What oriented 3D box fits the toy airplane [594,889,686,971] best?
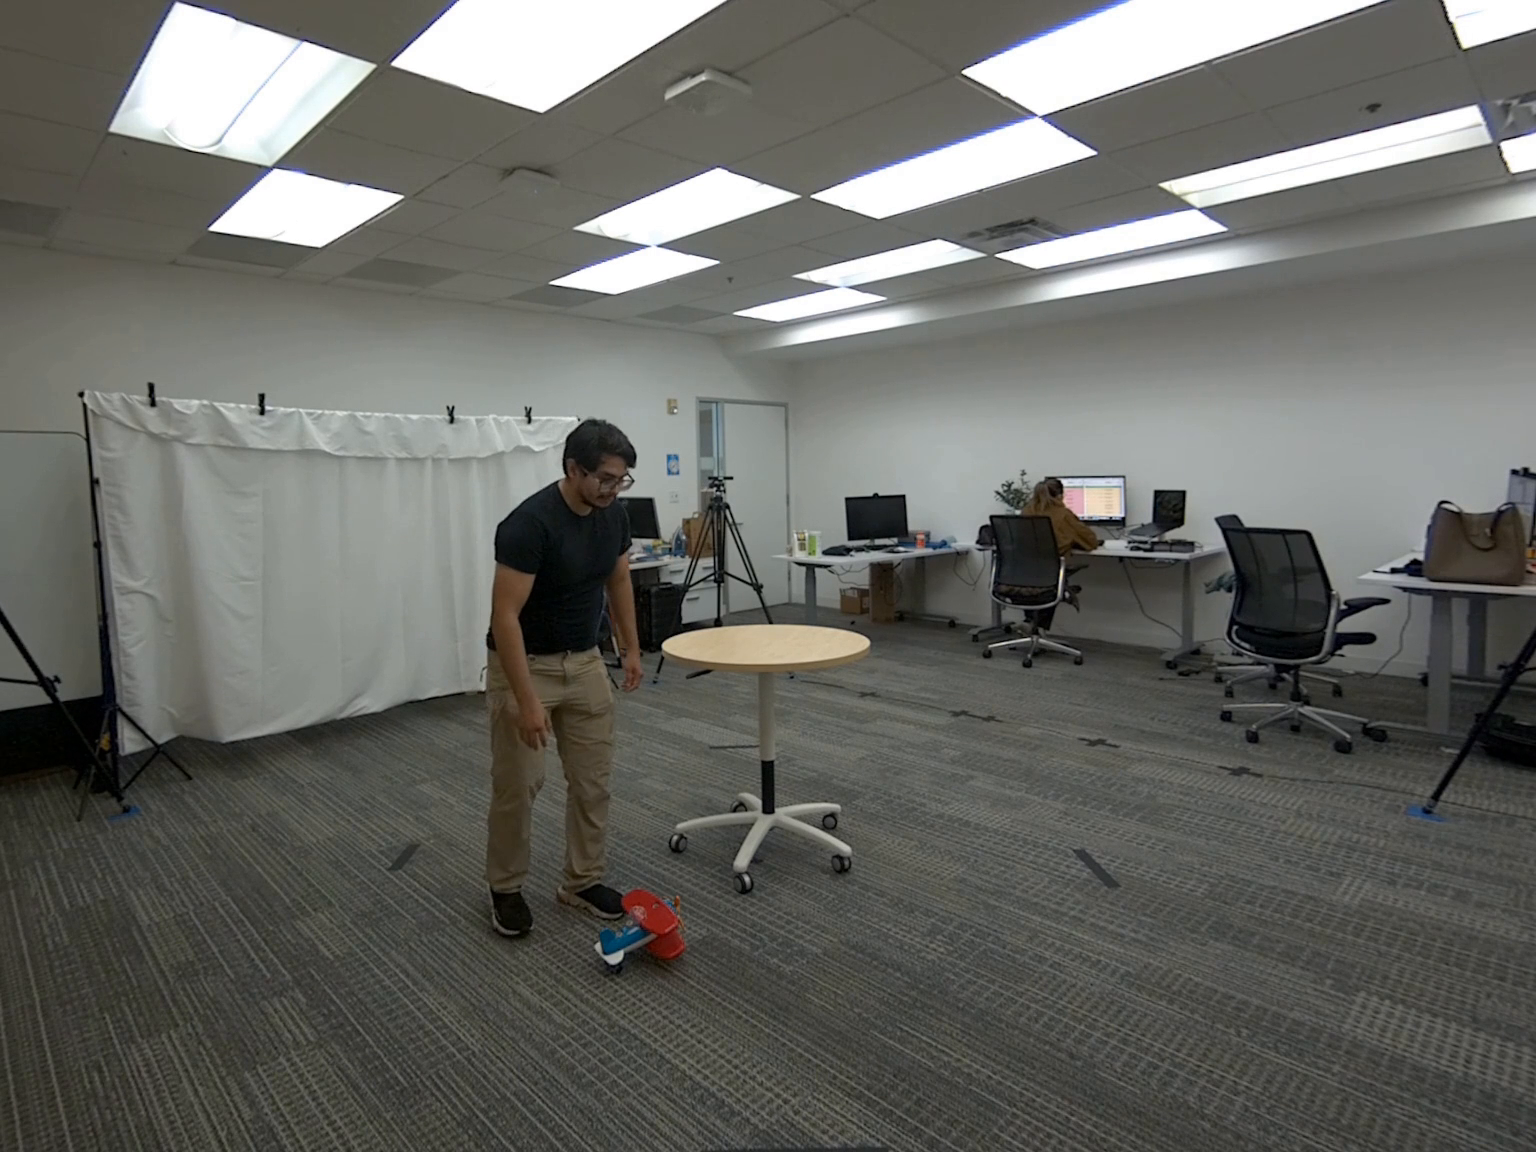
[{"bbox_3d":[-0.349,1.042,2.472,0.257,0.156,0.254,2,5,26],"label":"toy airplane"}]
